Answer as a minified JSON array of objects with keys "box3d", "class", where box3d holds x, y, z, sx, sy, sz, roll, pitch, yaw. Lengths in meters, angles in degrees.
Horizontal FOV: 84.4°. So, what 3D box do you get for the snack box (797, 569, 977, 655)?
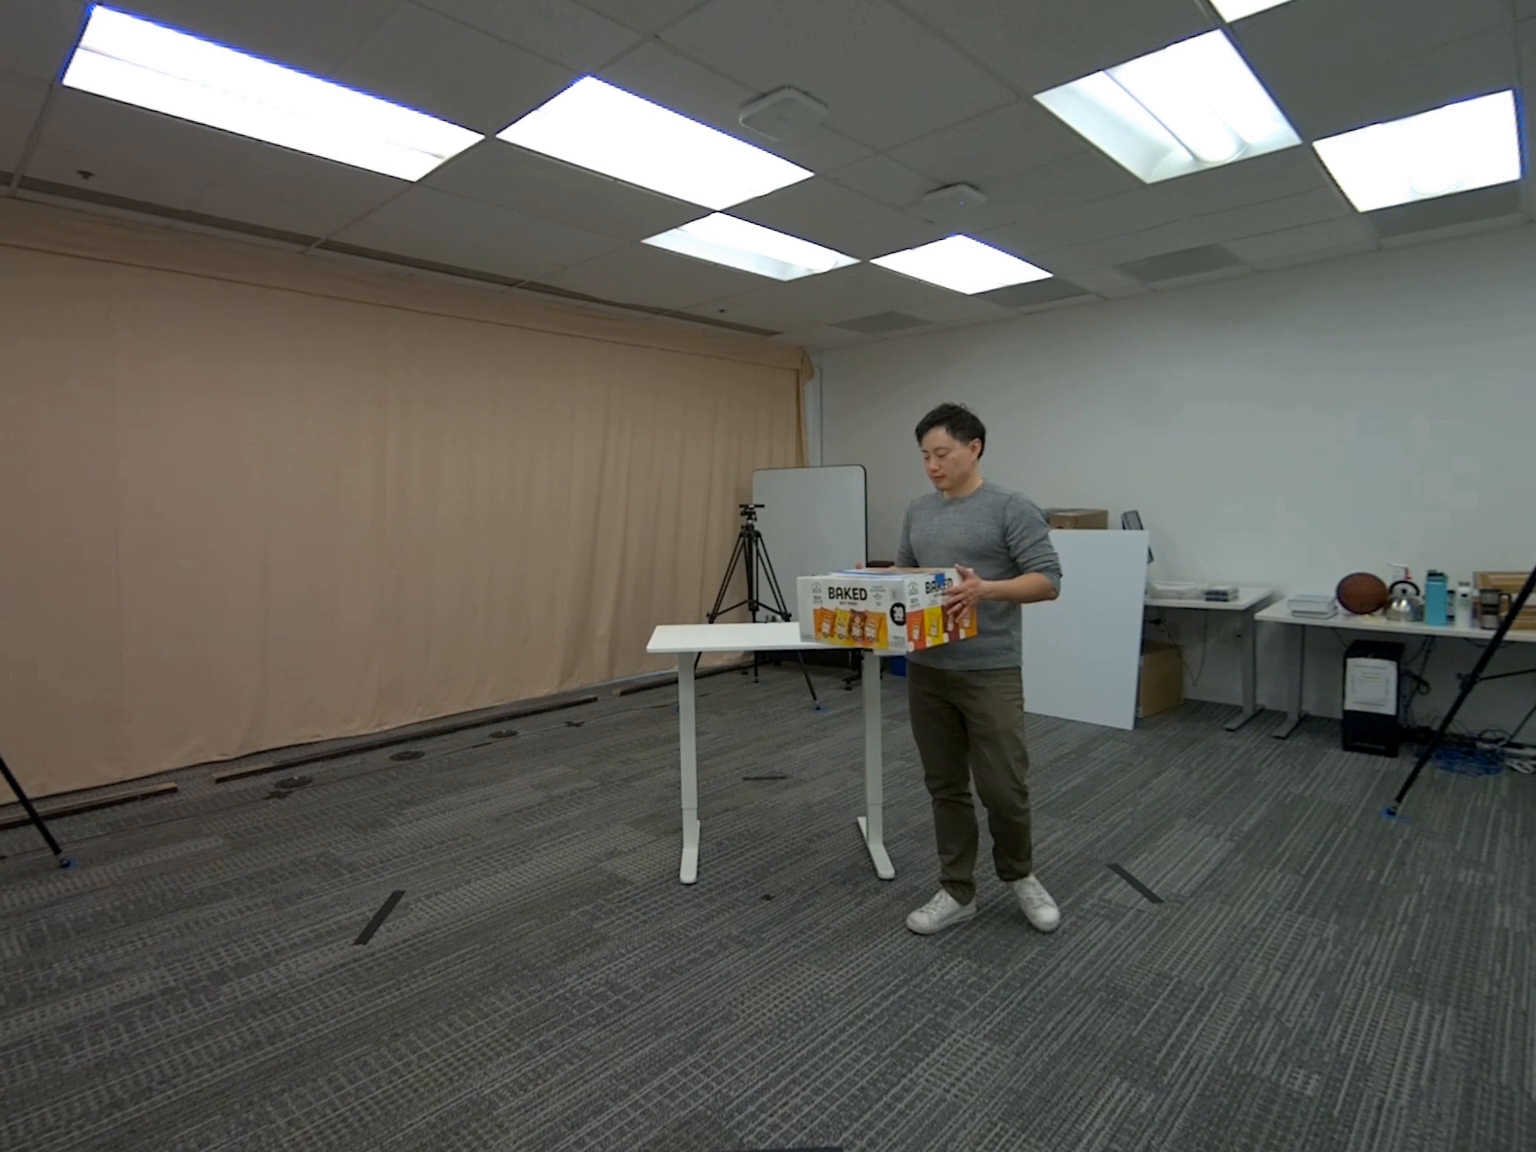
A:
[{"box3d":[0.365,0.097,2.556,0.330,0.205,0.418,-6,5,-42],"class":"snack box"}]
